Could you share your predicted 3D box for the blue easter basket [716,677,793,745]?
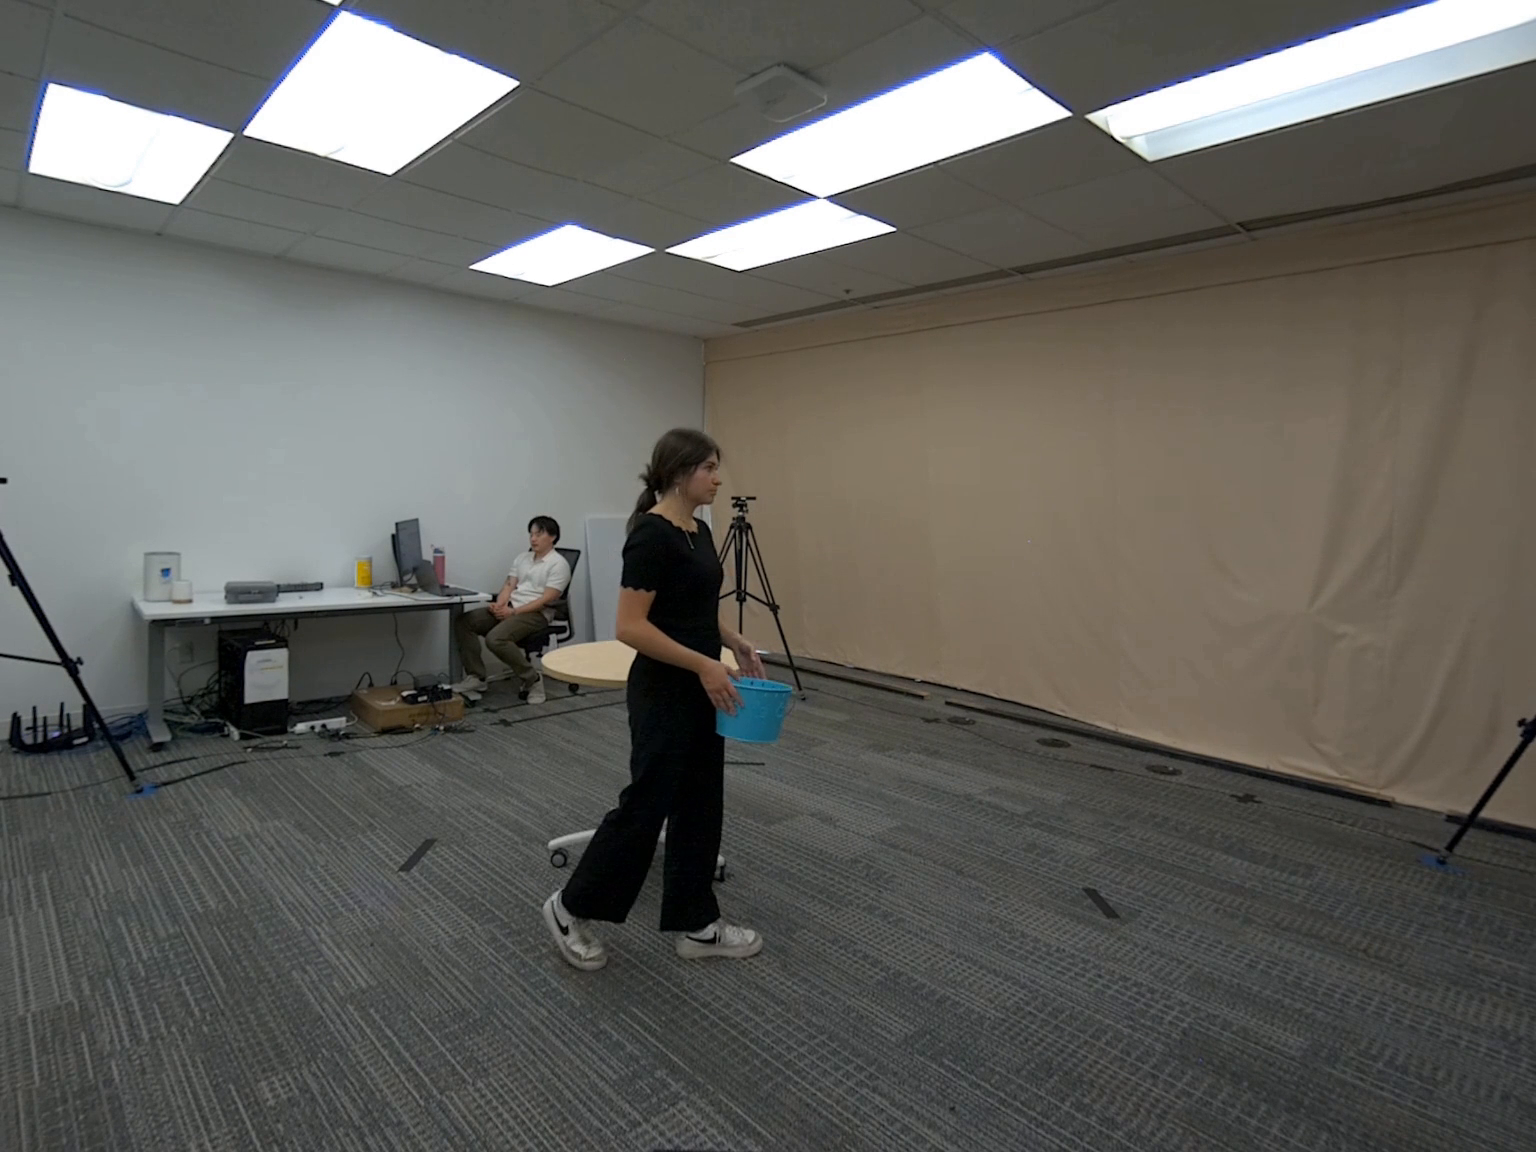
[{"bbox_3d":[-0.061,0.386,2.408,0.243,0.156,0.244,7,0,-1],"label":"blue easter basket"}]
